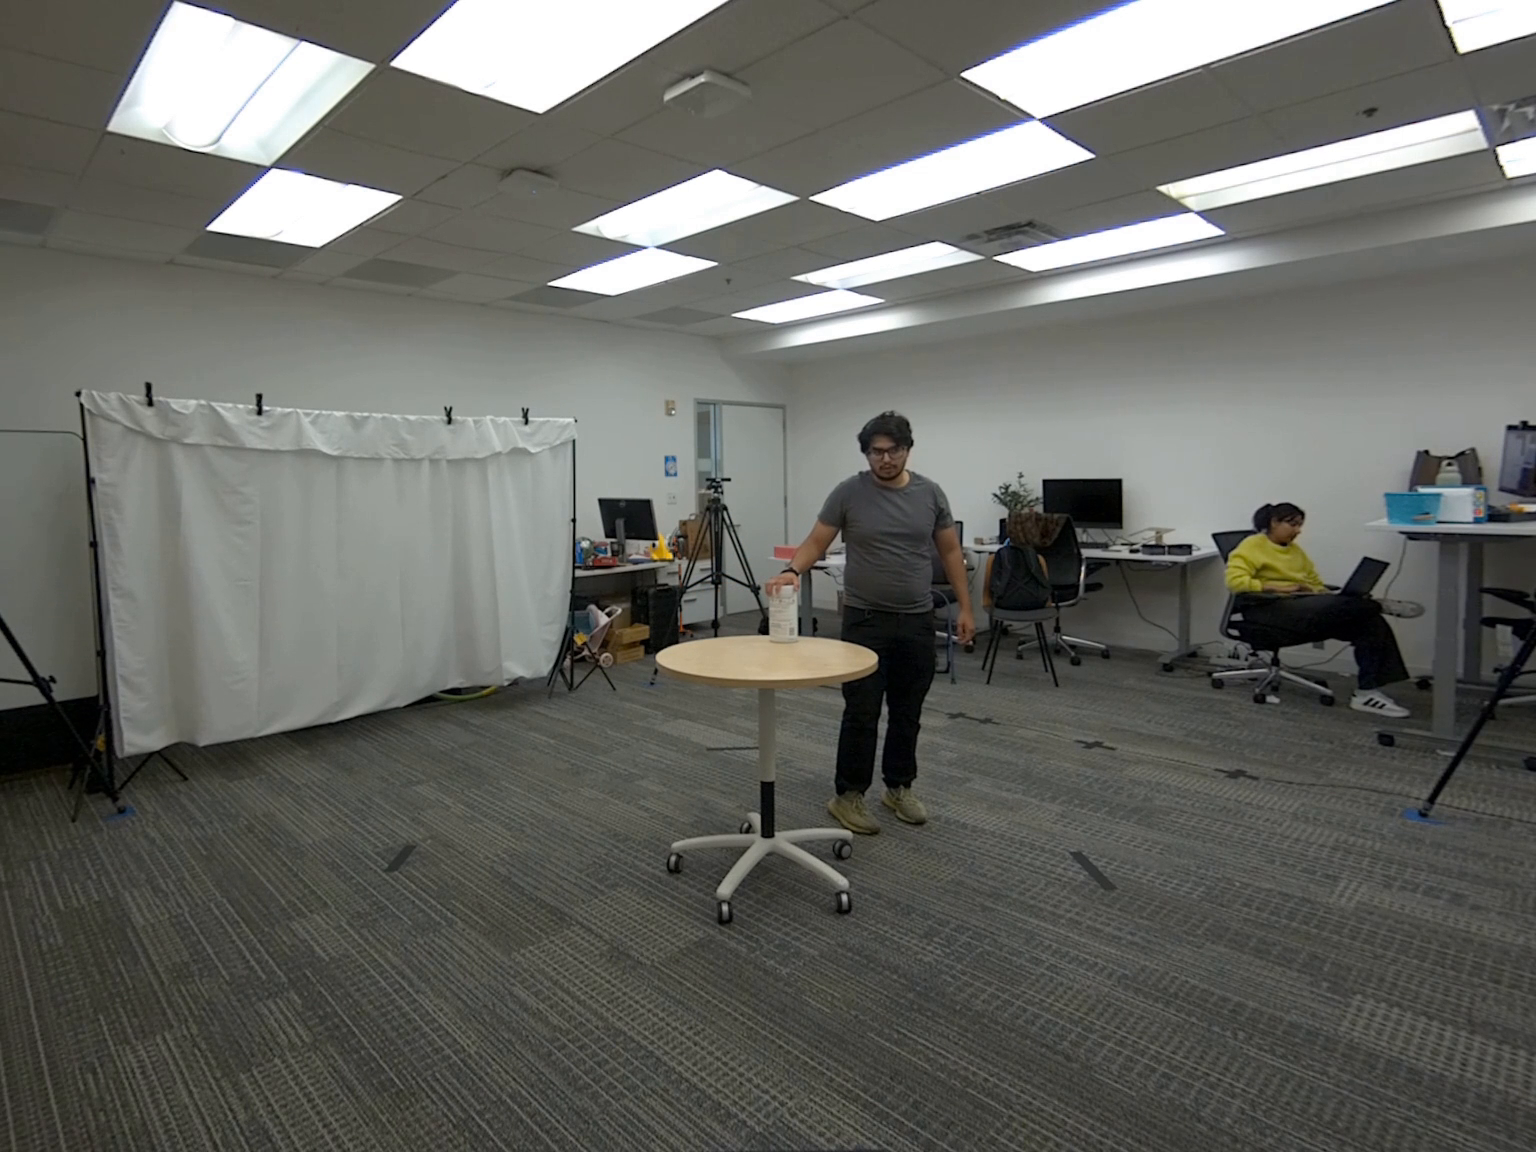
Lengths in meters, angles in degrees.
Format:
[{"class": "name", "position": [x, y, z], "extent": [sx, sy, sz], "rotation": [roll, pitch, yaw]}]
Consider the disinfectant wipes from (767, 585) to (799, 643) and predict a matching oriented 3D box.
[{"class": "disinfectant wipes", "position": [0.063, 0.138, 3.224], "extent": [0.118, 0.217, 0.118], "rotation": [0, 1, -2]}]
